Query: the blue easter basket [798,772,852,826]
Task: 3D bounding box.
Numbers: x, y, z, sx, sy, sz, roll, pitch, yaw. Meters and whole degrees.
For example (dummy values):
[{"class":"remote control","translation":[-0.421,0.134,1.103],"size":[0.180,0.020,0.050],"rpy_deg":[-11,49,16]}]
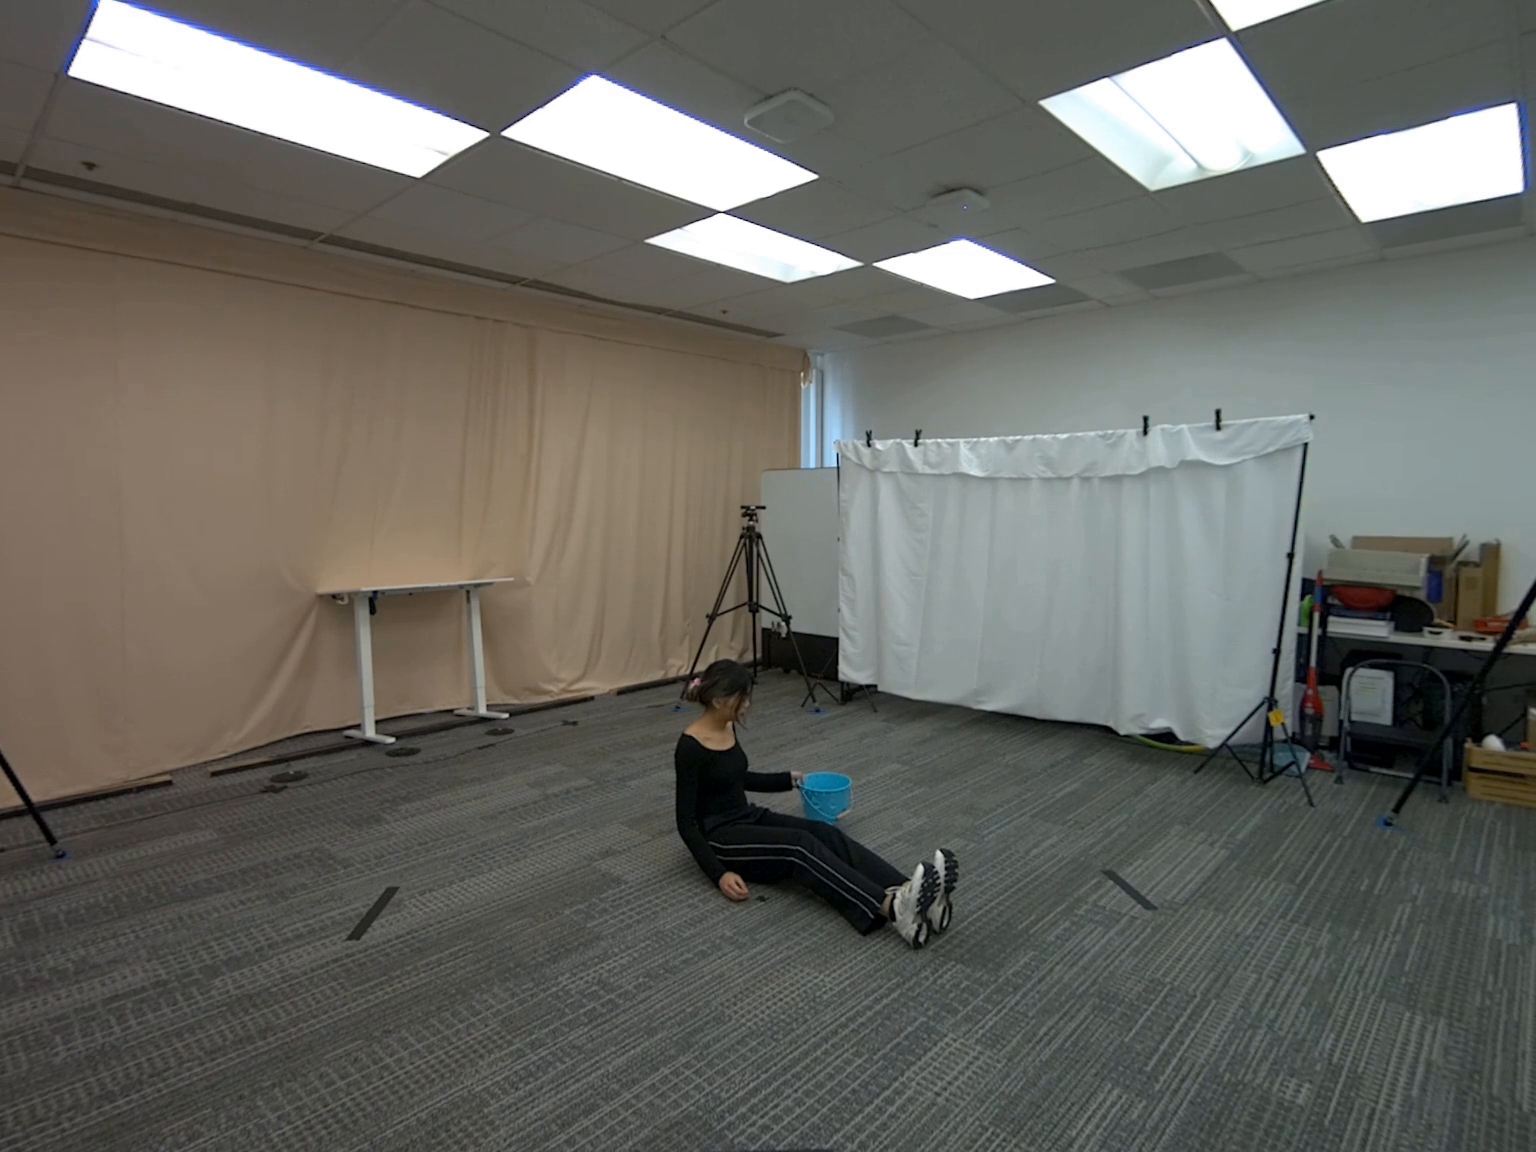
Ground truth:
[{"class":"blue easter basket","translation":[0.249,0.956,3.594],"size":[0.243,0.155,0.244],"rpy_deg":[-4,5,-2]}]
